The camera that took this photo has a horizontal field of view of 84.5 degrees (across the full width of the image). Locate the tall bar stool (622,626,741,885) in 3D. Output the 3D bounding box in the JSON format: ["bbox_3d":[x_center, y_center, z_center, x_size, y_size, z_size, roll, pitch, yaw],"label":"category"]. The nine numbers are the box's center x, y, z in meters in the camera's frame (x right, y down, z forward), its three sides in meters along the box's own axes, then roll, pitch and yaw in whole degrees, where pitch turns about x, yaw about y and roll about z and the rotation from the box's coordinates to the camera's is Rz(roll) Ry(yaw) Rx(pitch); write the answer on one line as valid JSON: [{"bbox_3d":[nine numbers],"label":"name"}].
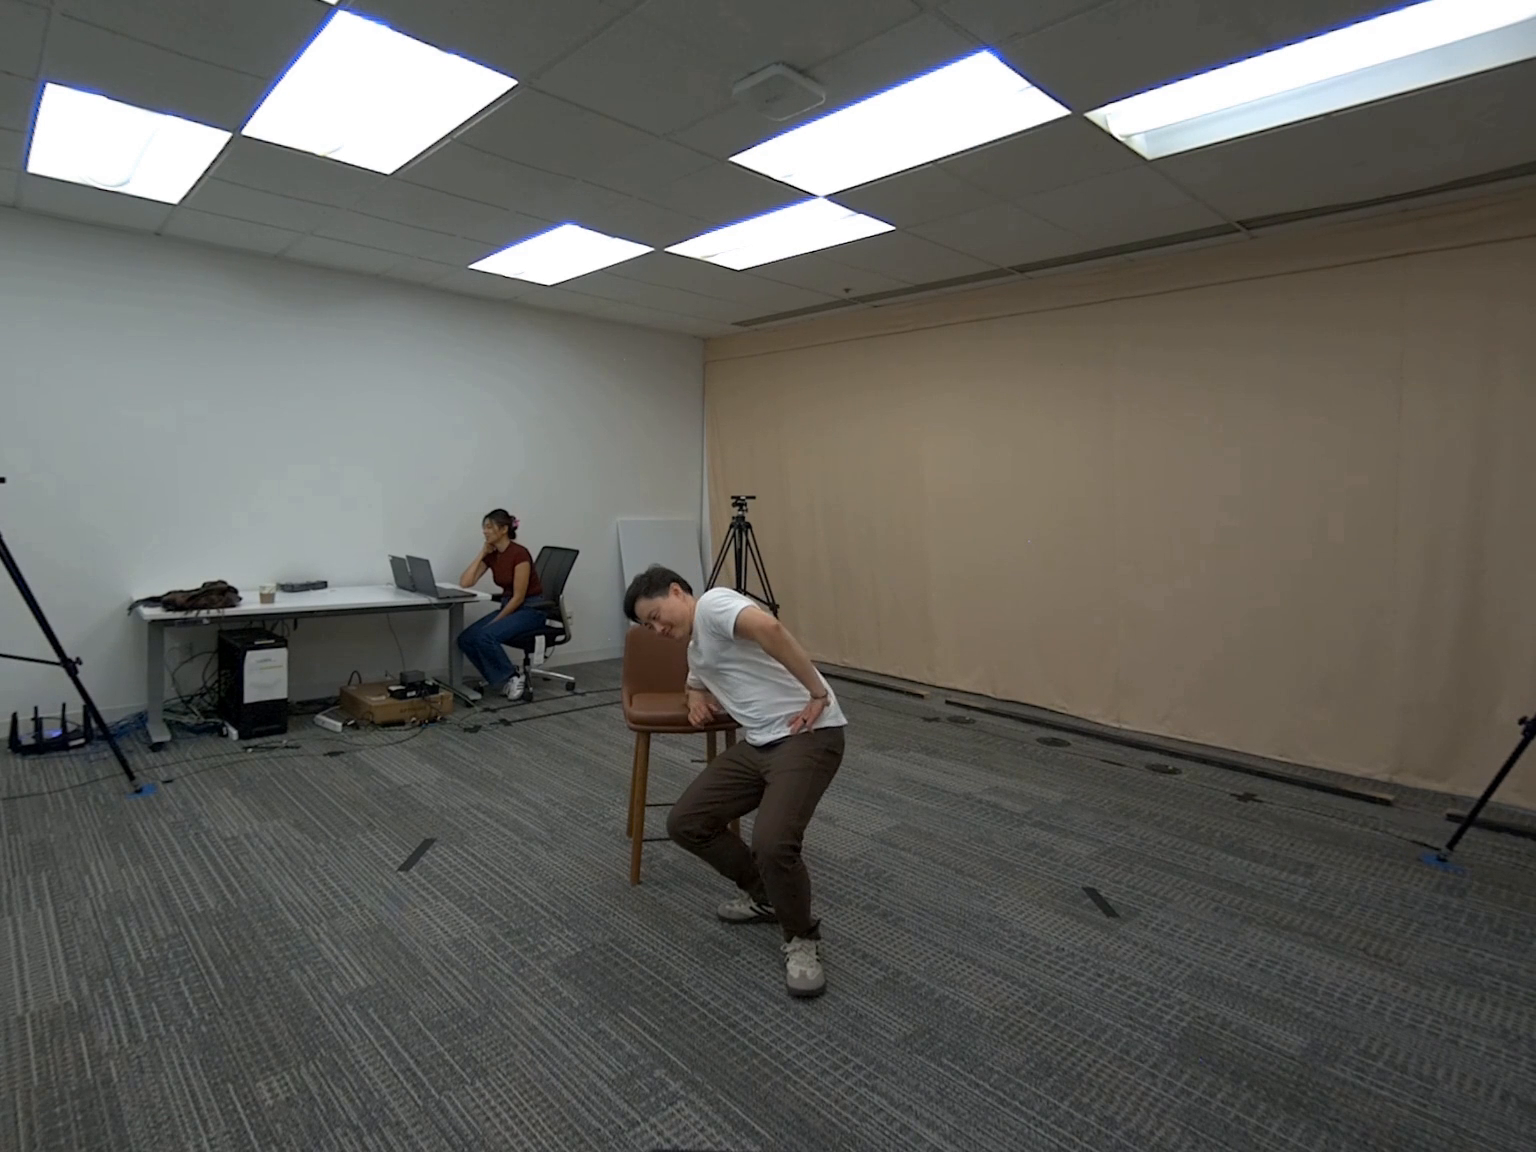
[{"bbox_3d":[-0.344,0.648,3.244,0.452,0.888,0.473,1,2,-13],"label":"tall bar stool"}]
